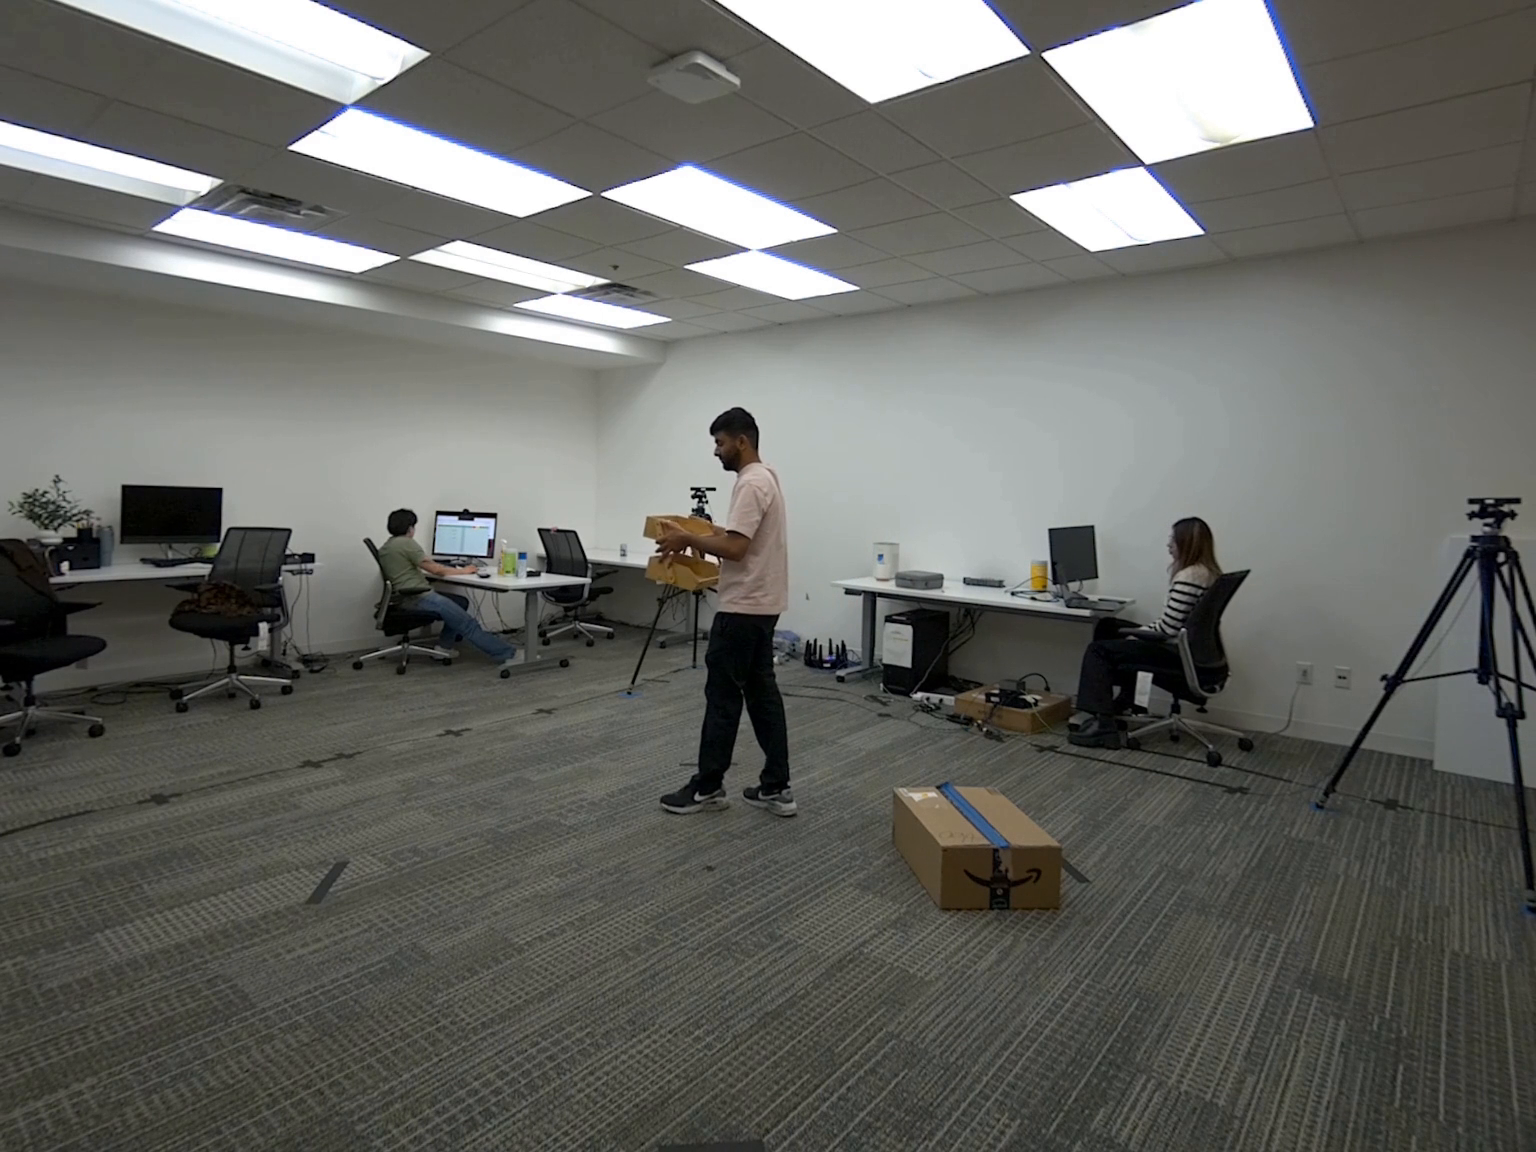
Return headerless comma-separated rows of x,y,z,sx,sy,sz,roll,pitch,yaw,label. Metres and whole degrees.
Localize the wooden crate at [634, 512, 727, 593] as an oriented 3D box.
-0.369,-0.116,3.762,0.309,0.272,0.319,15,9,17,wooden crate
